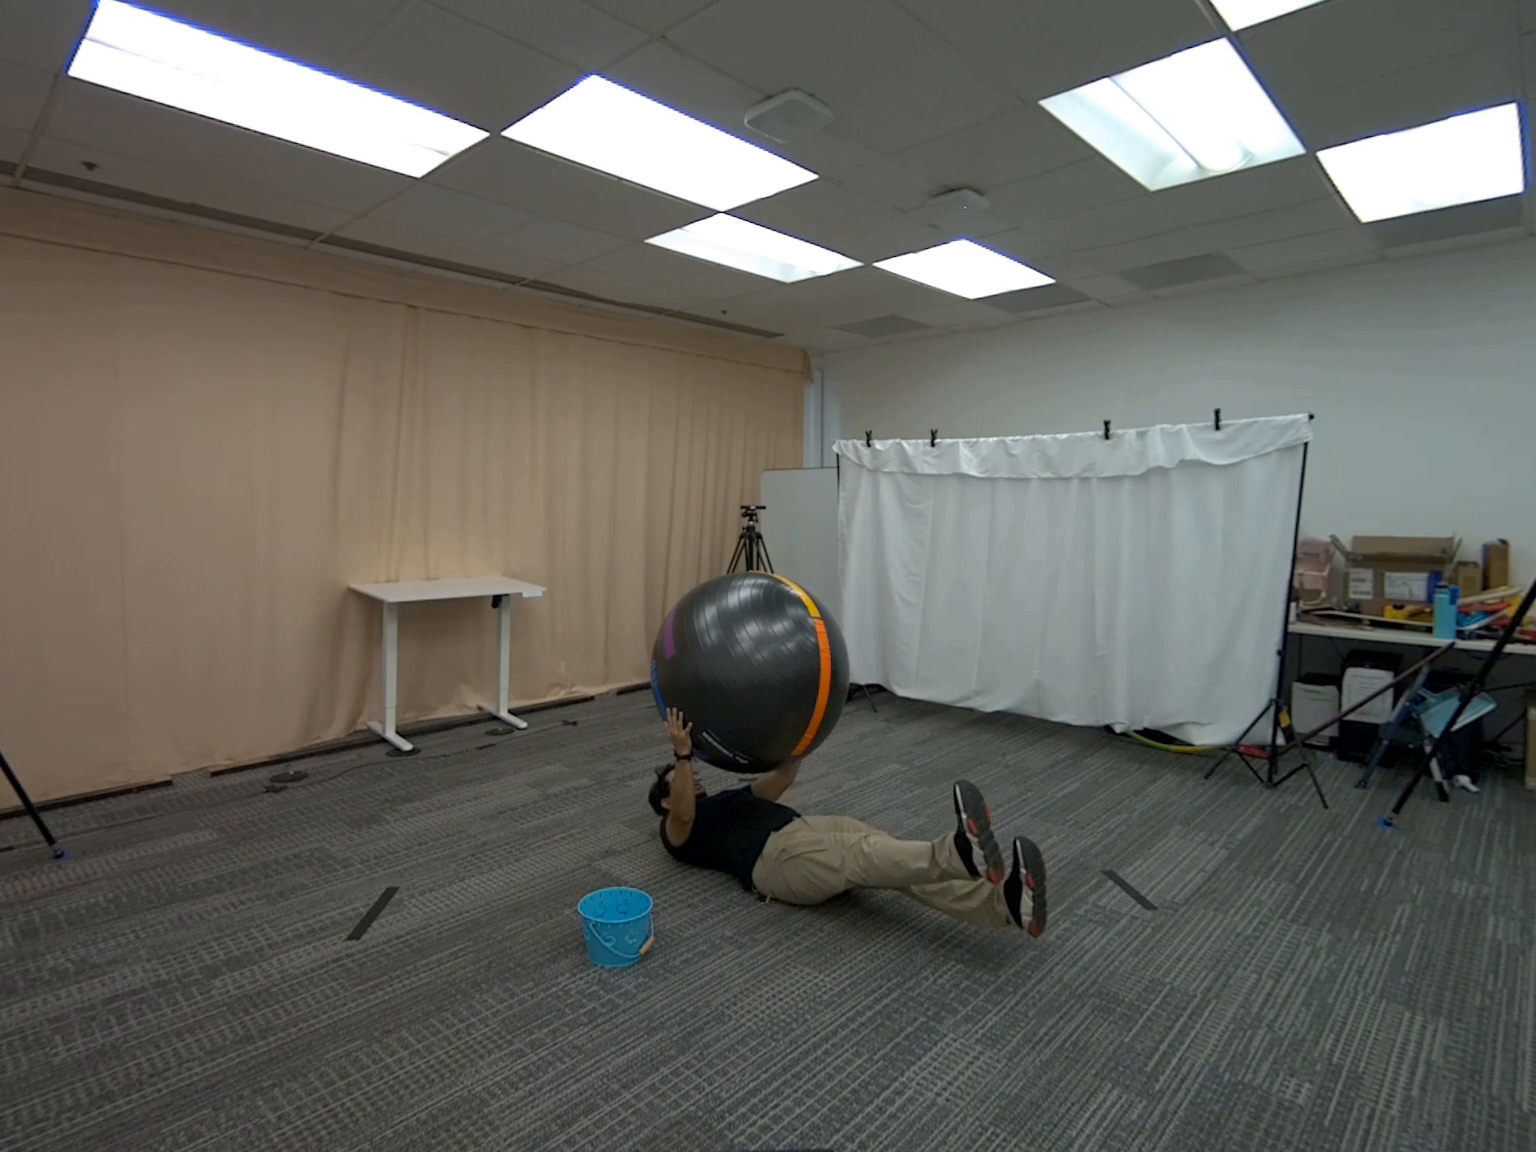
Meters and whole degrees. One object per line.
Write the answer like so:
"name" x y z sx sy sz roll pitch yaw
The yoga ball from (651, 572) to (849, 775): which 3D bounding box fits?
"yoga ball" -0.066 0.369 3.215 0.757 0.756 0.761 0 4 -2
